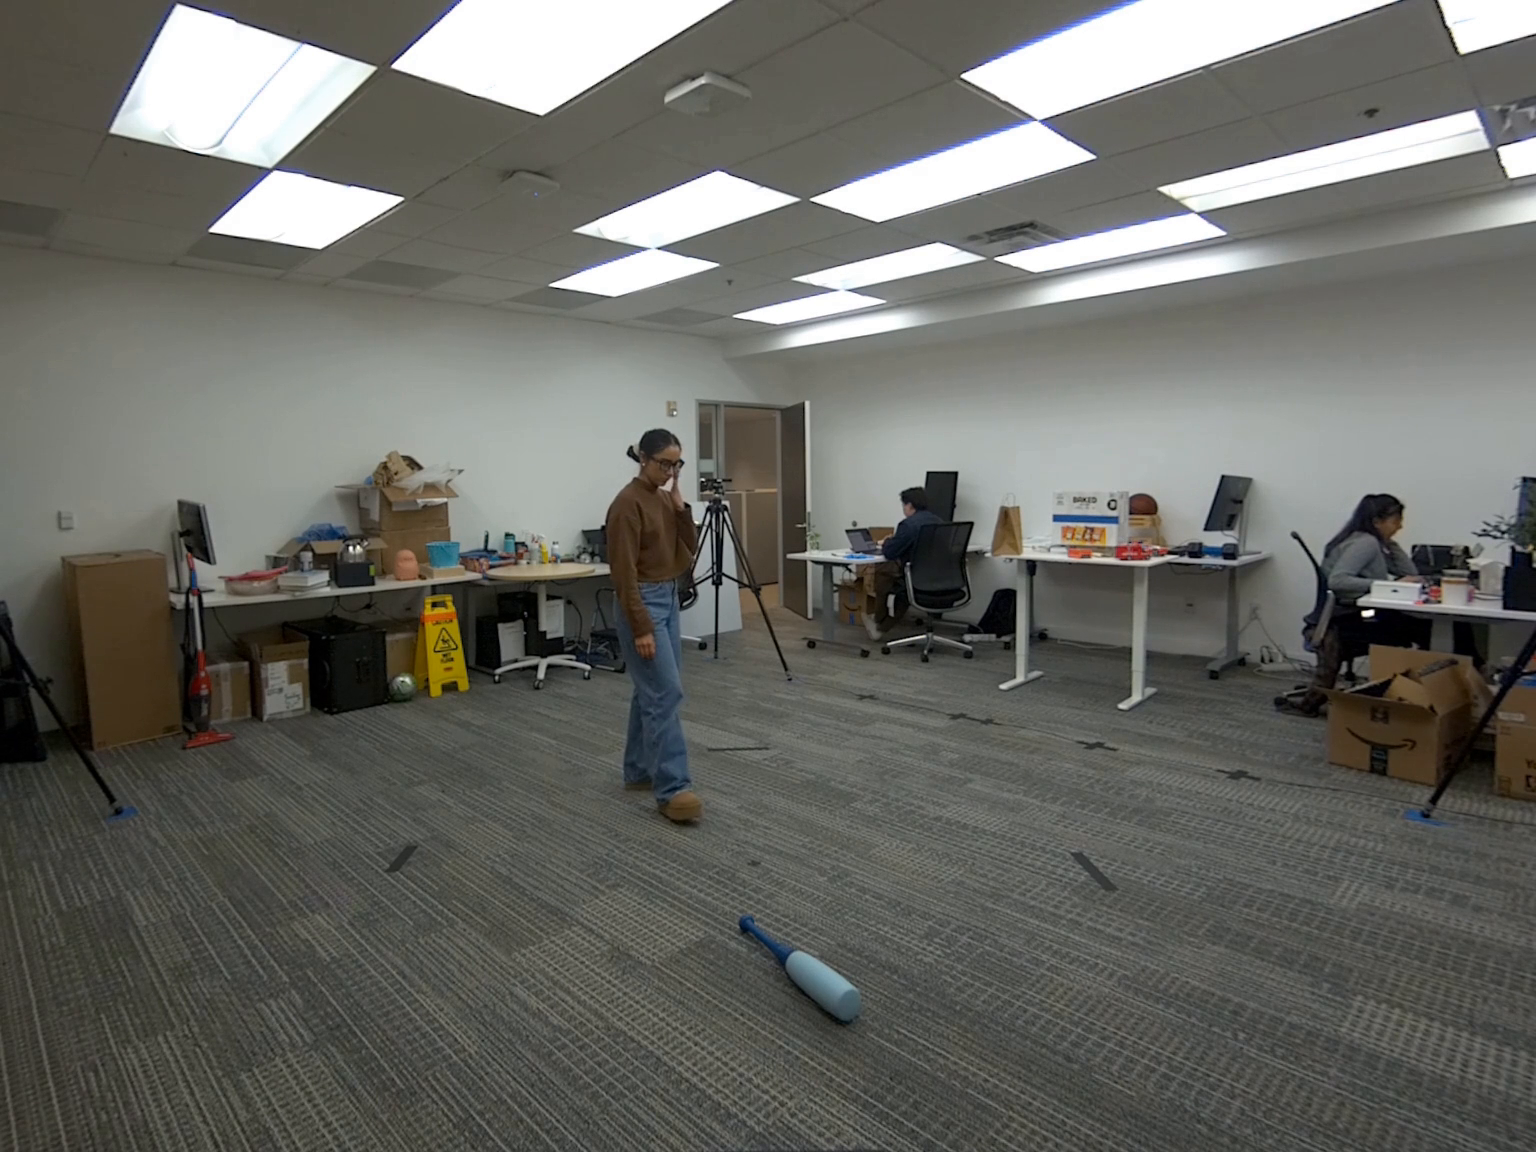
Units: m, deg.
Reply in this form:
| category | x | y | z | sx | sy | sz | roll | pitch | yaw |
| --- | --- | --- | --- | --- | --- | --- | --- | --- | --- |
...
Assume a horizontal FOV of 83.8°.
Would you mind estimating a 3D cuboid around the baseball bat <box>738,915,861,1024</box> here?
| category | x | y | z | sx | sy | sz | roll | pitch | yaw |
| --- | --- | --- | --- | --- | --- | --- | --- | --- | --- |
| baseball bat | 0.075 | 1.091 | 2.410 | 0.087 | 0.089 | 0.556 | -4 | 3 | -30 |
